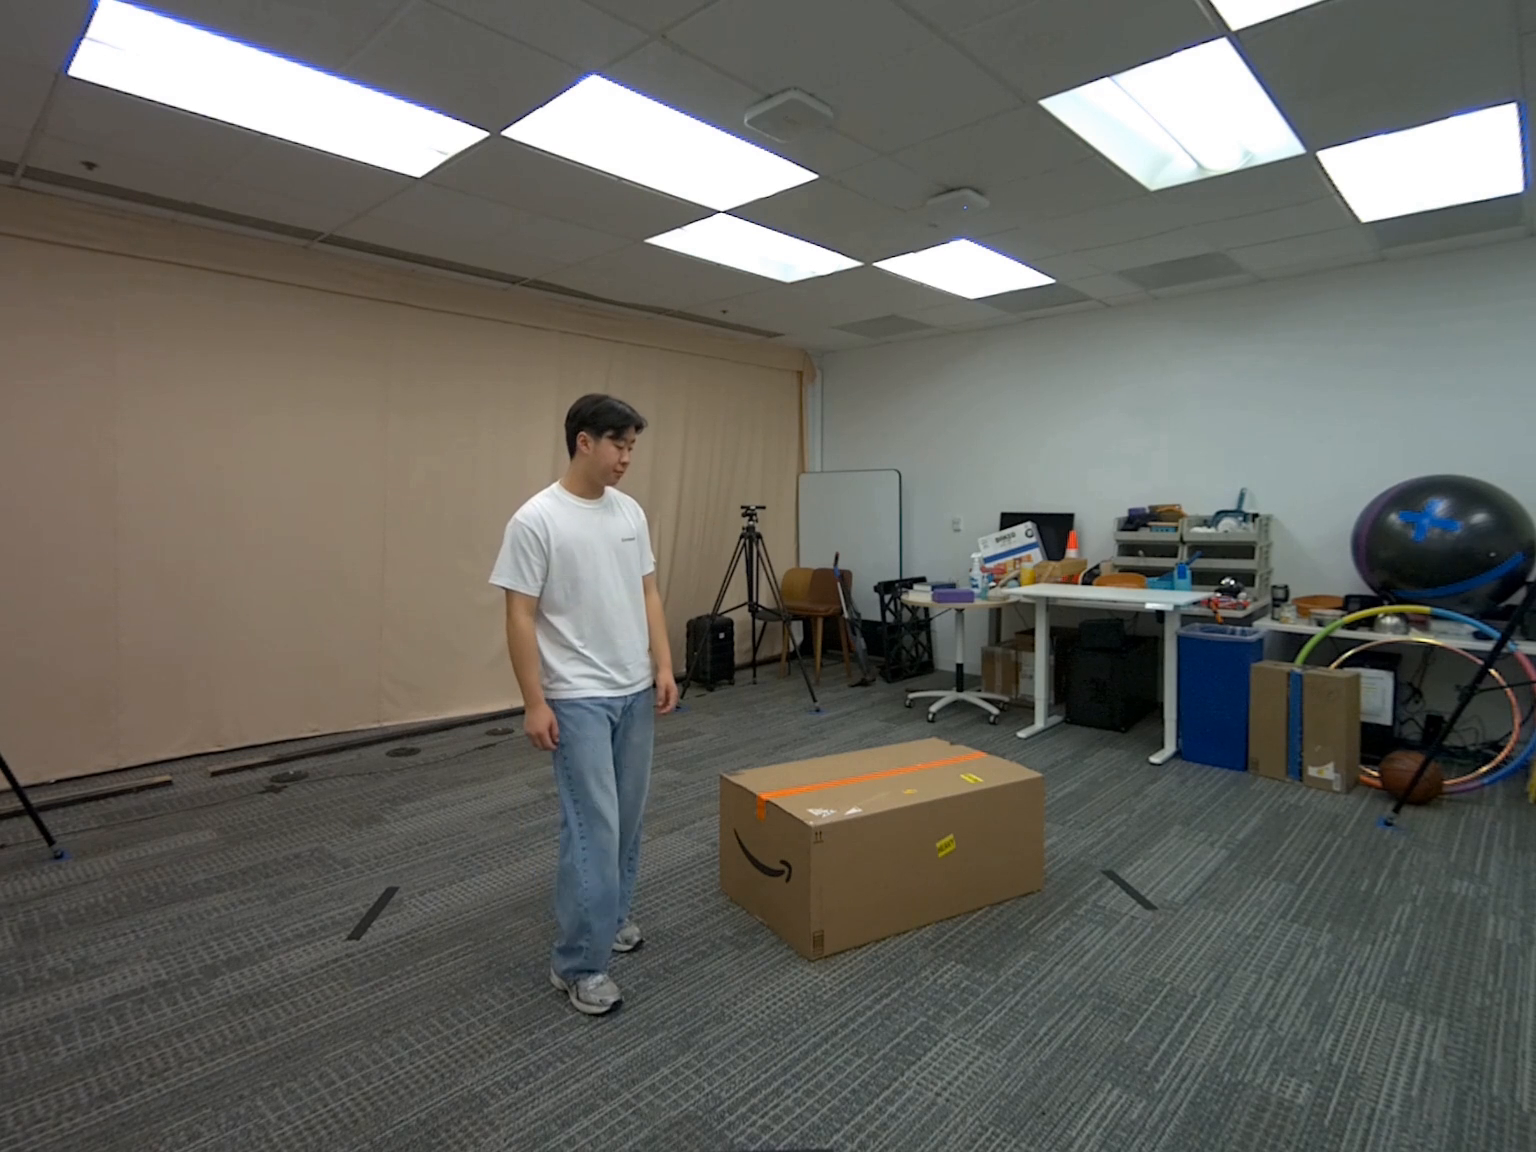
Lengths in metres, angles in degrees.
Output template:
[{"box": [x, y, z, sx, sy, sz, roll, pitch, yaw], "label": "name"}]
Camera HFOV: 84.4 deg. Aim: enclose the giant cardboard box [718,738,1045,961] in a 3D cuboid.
[{"box": [0.412, 0.923, 3.044, 0.999, 0.425, 0.594, -3, 5, -30], "label": "giant cardboard box"}]
